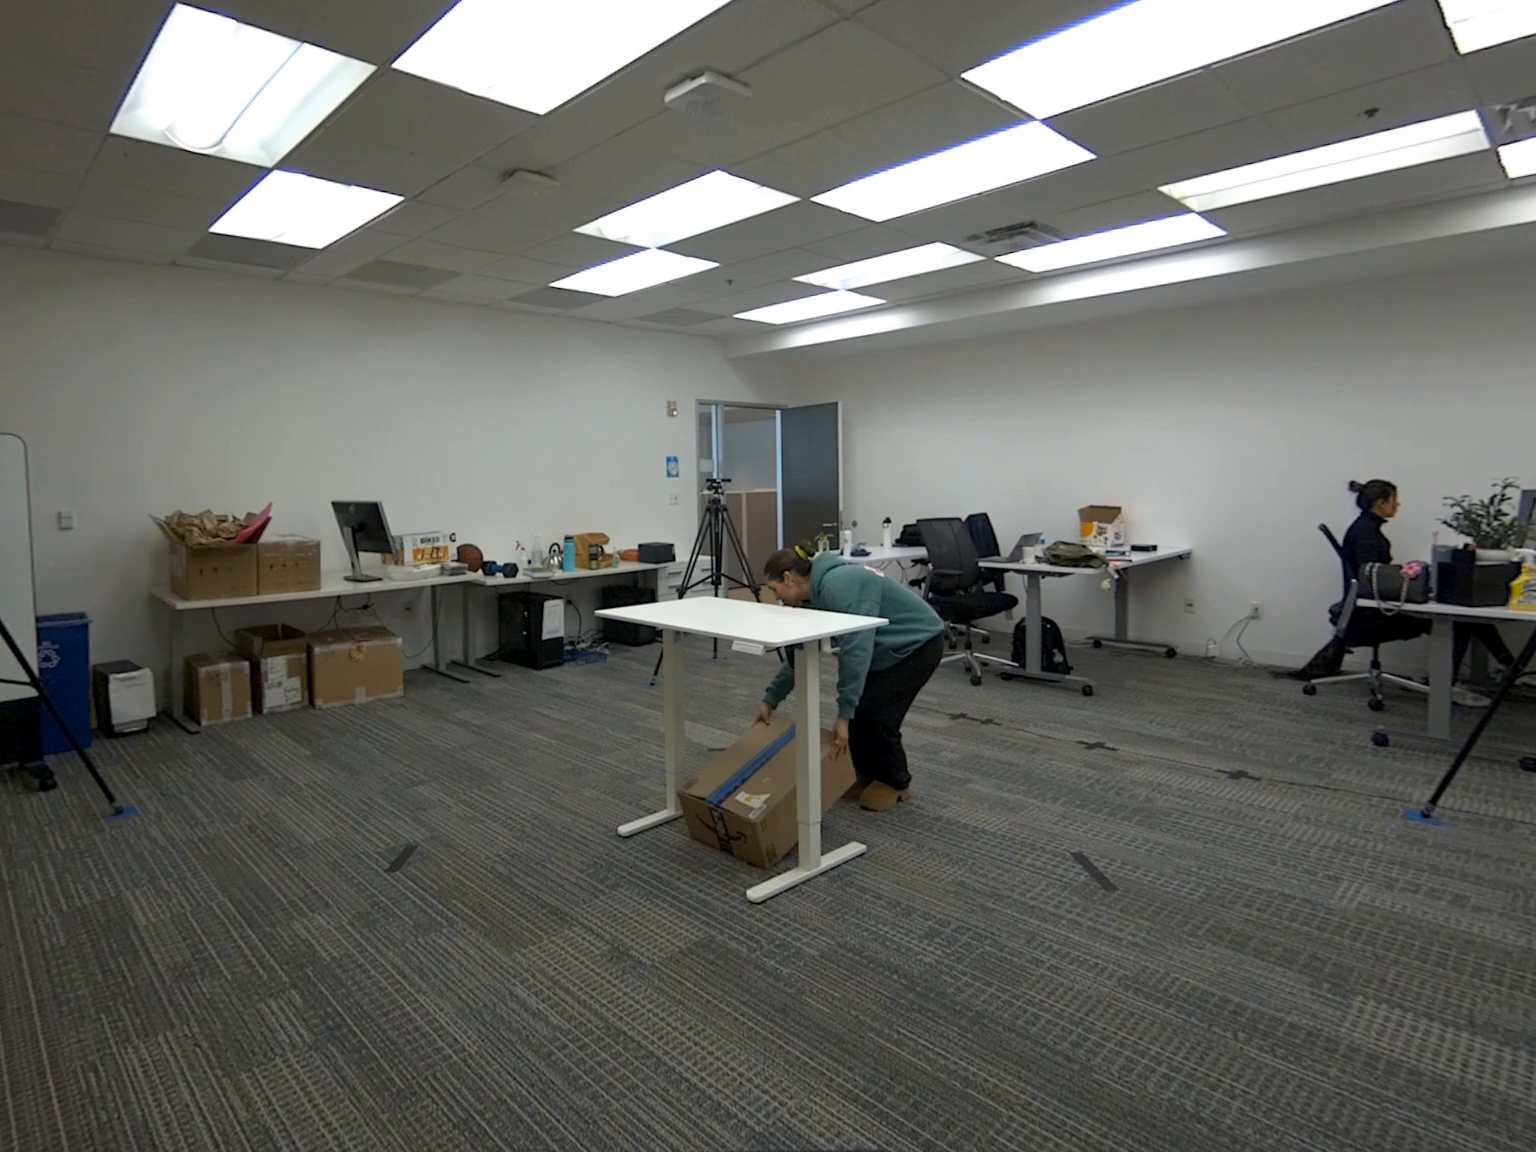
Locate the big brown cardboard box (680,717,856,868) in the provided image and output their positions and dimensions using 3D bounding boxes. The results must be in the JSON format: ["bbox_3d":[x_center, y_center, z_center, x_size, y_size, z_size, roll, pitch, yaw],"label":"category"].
[{"bbox_3d":[0.000,0.810,3.326,0.430,0.228,0.582,5,27,42],"label":"big brown cardboard box"}]
